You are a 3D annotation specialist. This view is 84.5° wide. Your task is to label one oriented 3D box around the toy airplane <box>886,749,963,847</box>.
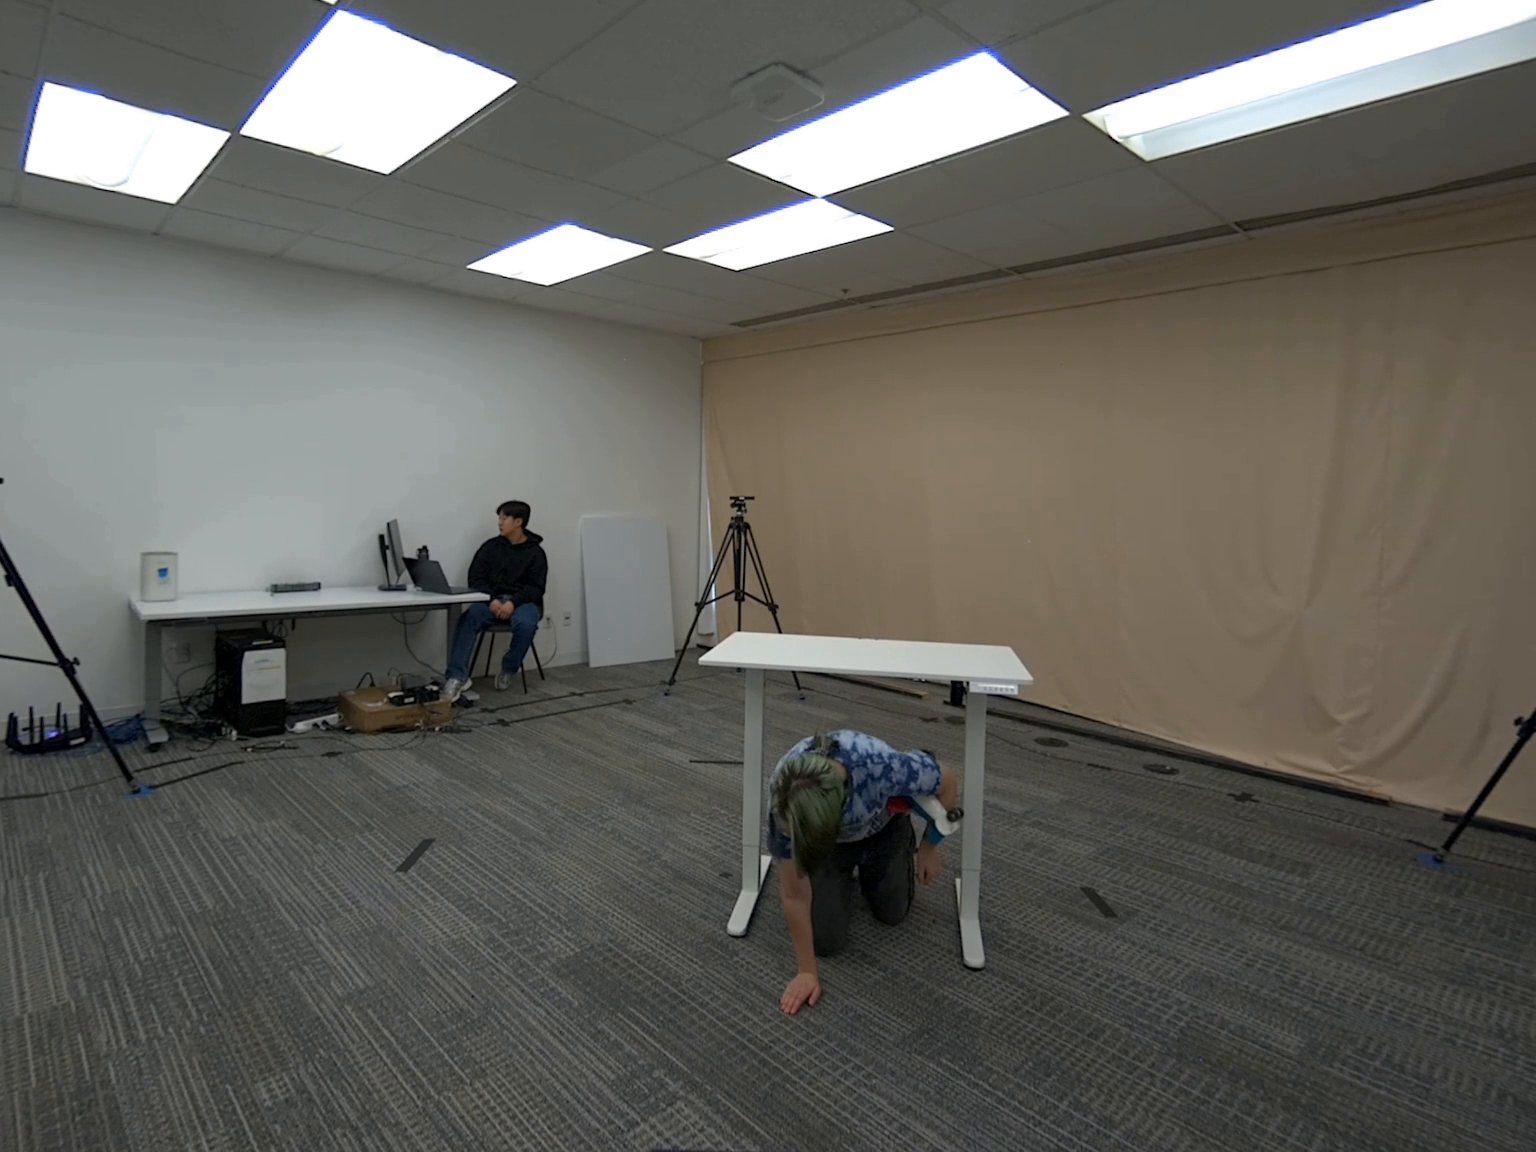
[{"bbox_3d":[0.433,0.651,2.464,0.244,0.266,0.157,29,-55,-32],"label":"toy airplane"}]
